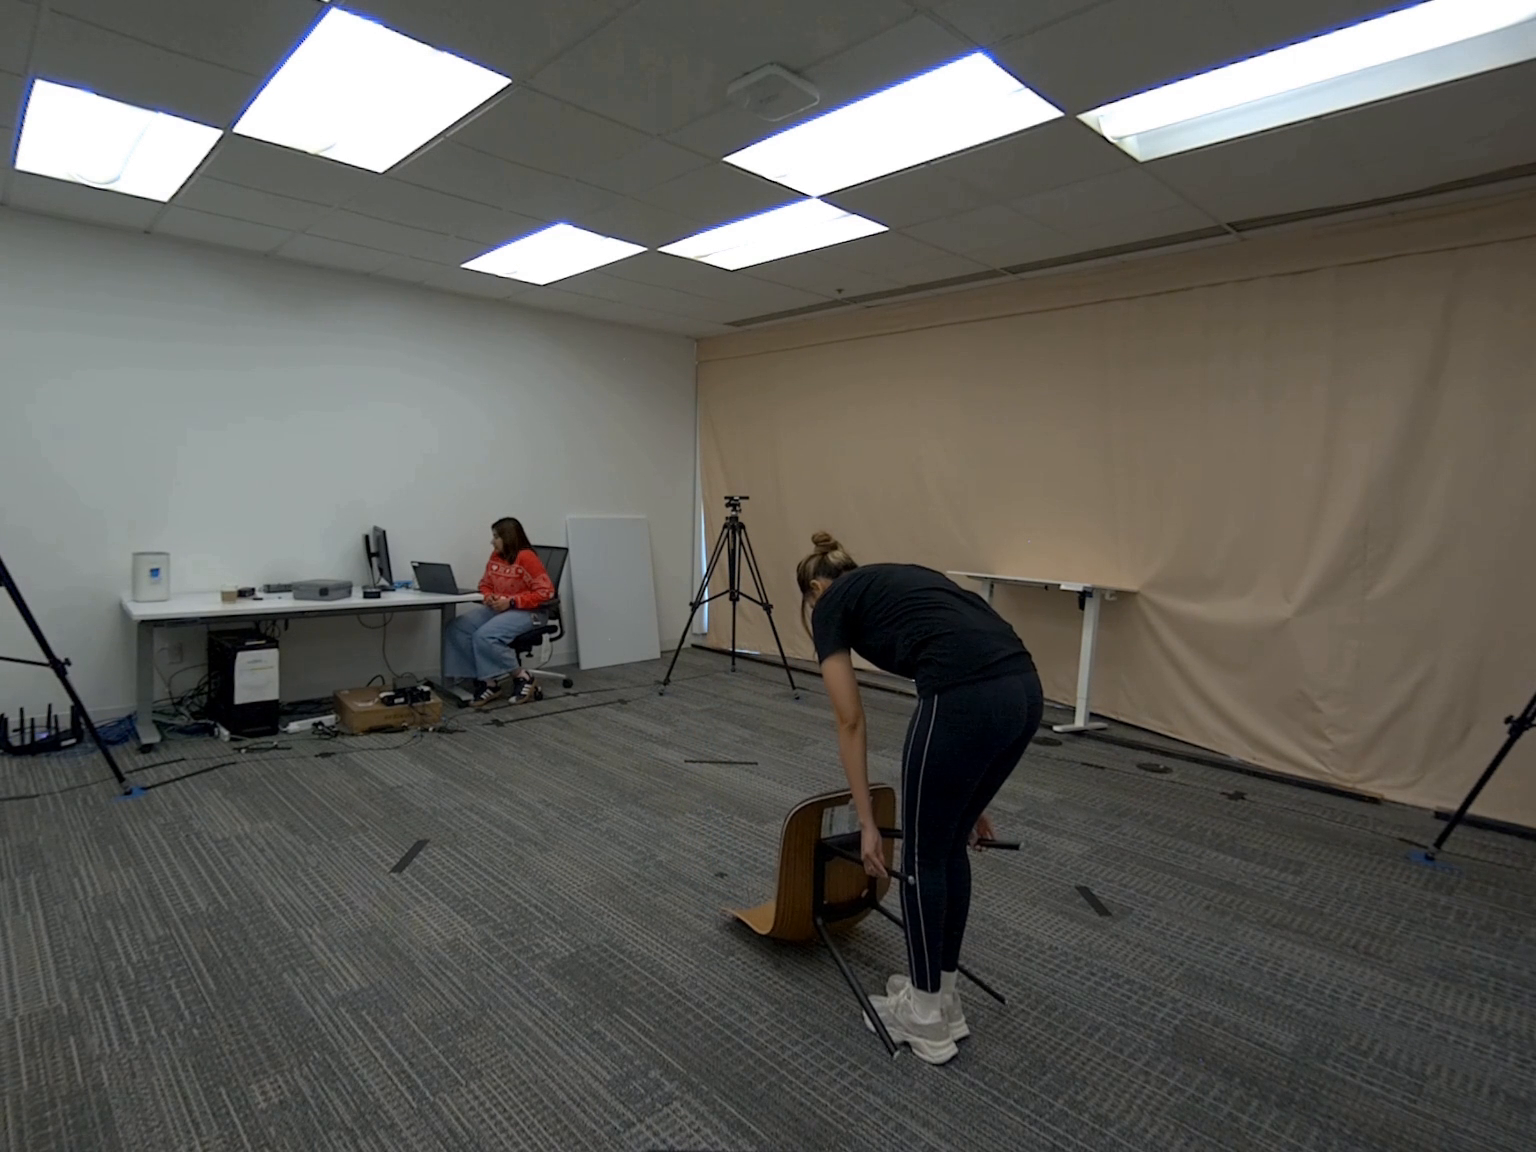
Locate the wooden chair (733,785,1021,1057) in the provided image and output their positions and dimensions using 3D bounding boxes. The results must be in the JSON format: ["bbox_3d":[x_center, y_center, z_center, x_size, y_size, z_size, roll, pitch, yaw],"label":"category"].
[{"bbox_3d":[0.236,0.894,2.509,0.467,0.523,0.898,1,1,-37],"label":"wooden chair"}]
